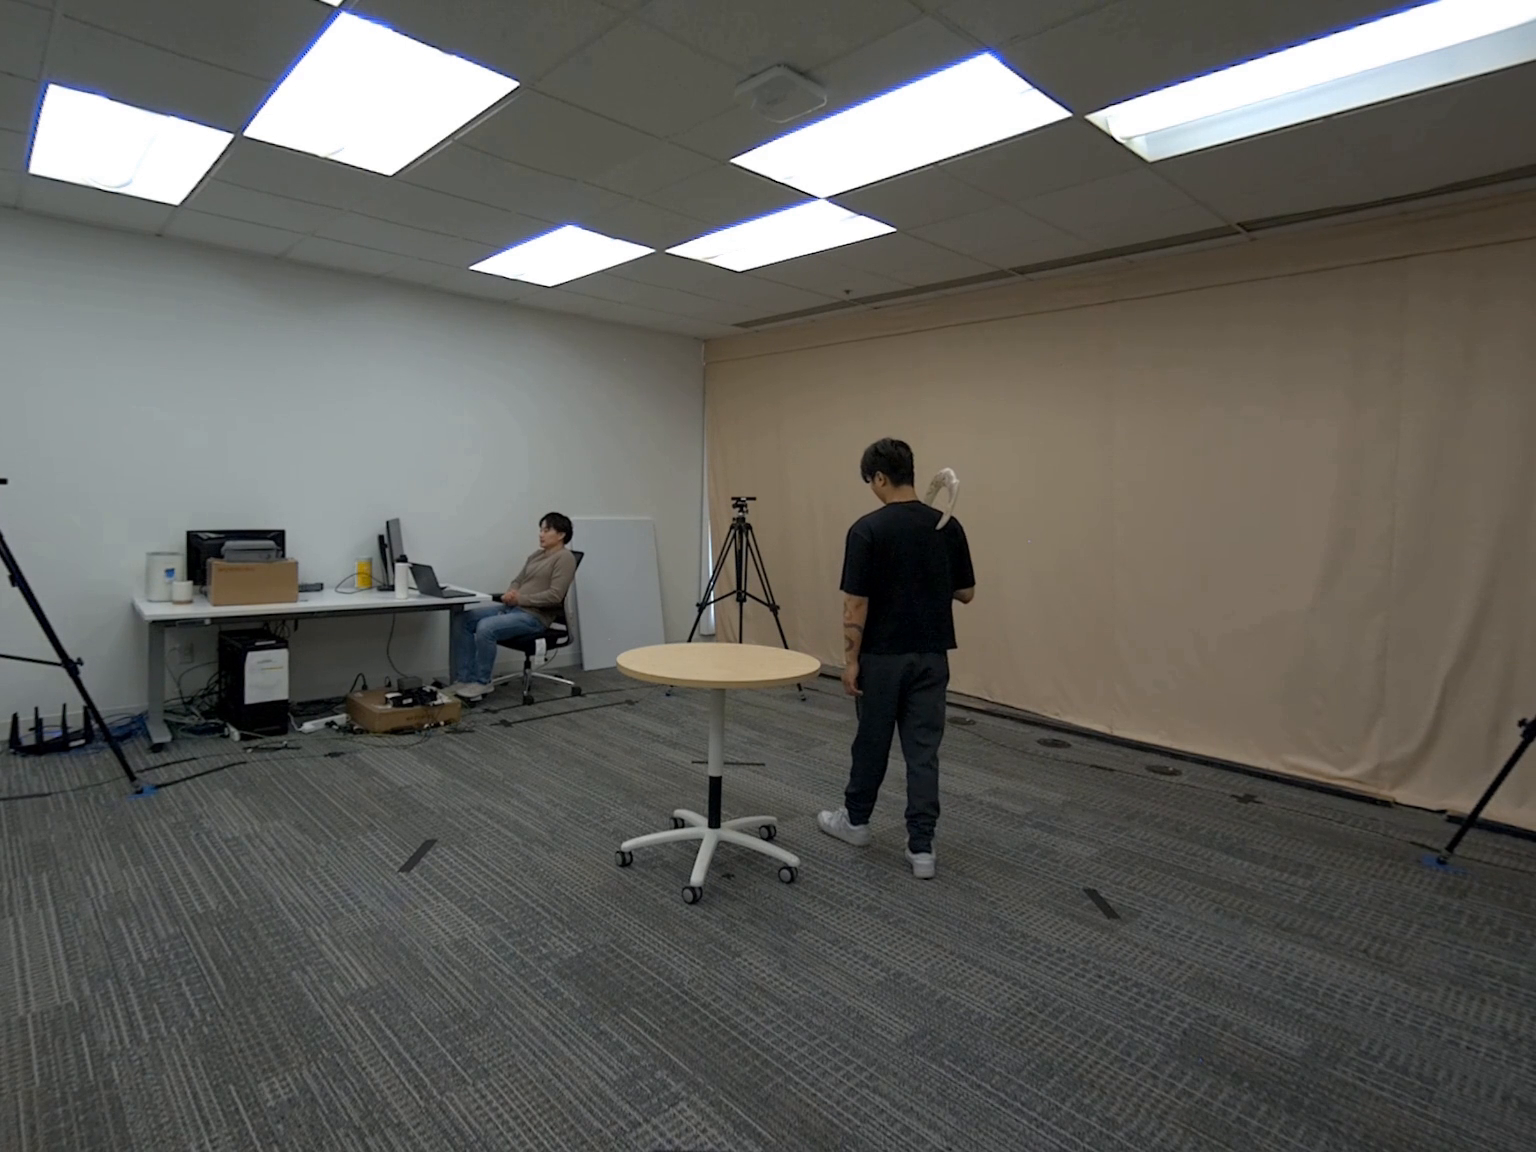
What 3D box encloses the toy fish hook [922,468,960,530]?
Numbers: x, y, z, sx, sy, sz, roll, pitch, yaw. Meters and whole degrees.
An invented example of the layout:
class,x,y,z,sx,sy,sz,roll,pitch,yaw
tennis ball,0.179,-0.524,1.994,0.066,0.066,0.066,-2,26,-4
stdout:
class,x,y,z,sx,sy,sz,roll,pitch,yaw
toy fish hook,0.620,-0.191,3.311,0.048,0.501,0.230,14,34,-14
